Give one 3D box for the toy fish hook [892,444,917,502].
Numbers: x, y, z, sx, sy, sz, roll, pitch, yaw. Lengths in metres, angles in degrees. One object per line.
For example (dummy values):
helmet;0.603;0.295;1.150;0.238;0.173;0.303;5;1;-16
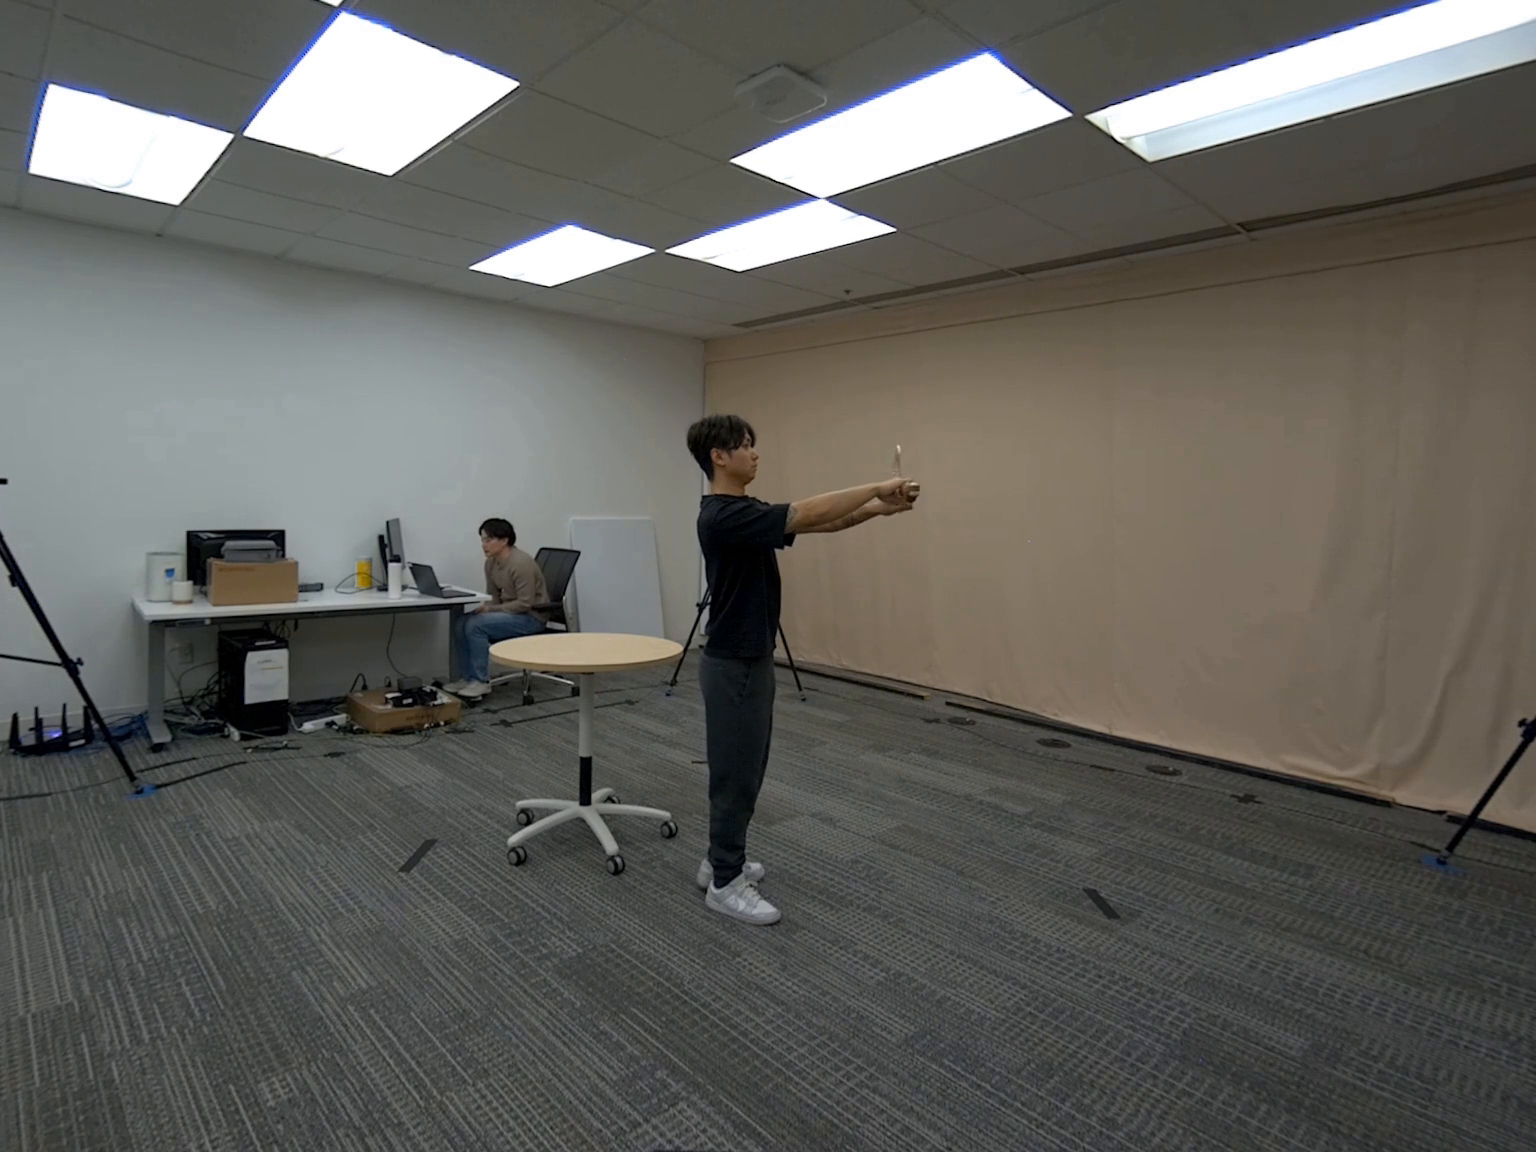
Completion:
toy fish hook;0.433;-0.317;2.677;0.048;0.224;0.505;-4;2;3
